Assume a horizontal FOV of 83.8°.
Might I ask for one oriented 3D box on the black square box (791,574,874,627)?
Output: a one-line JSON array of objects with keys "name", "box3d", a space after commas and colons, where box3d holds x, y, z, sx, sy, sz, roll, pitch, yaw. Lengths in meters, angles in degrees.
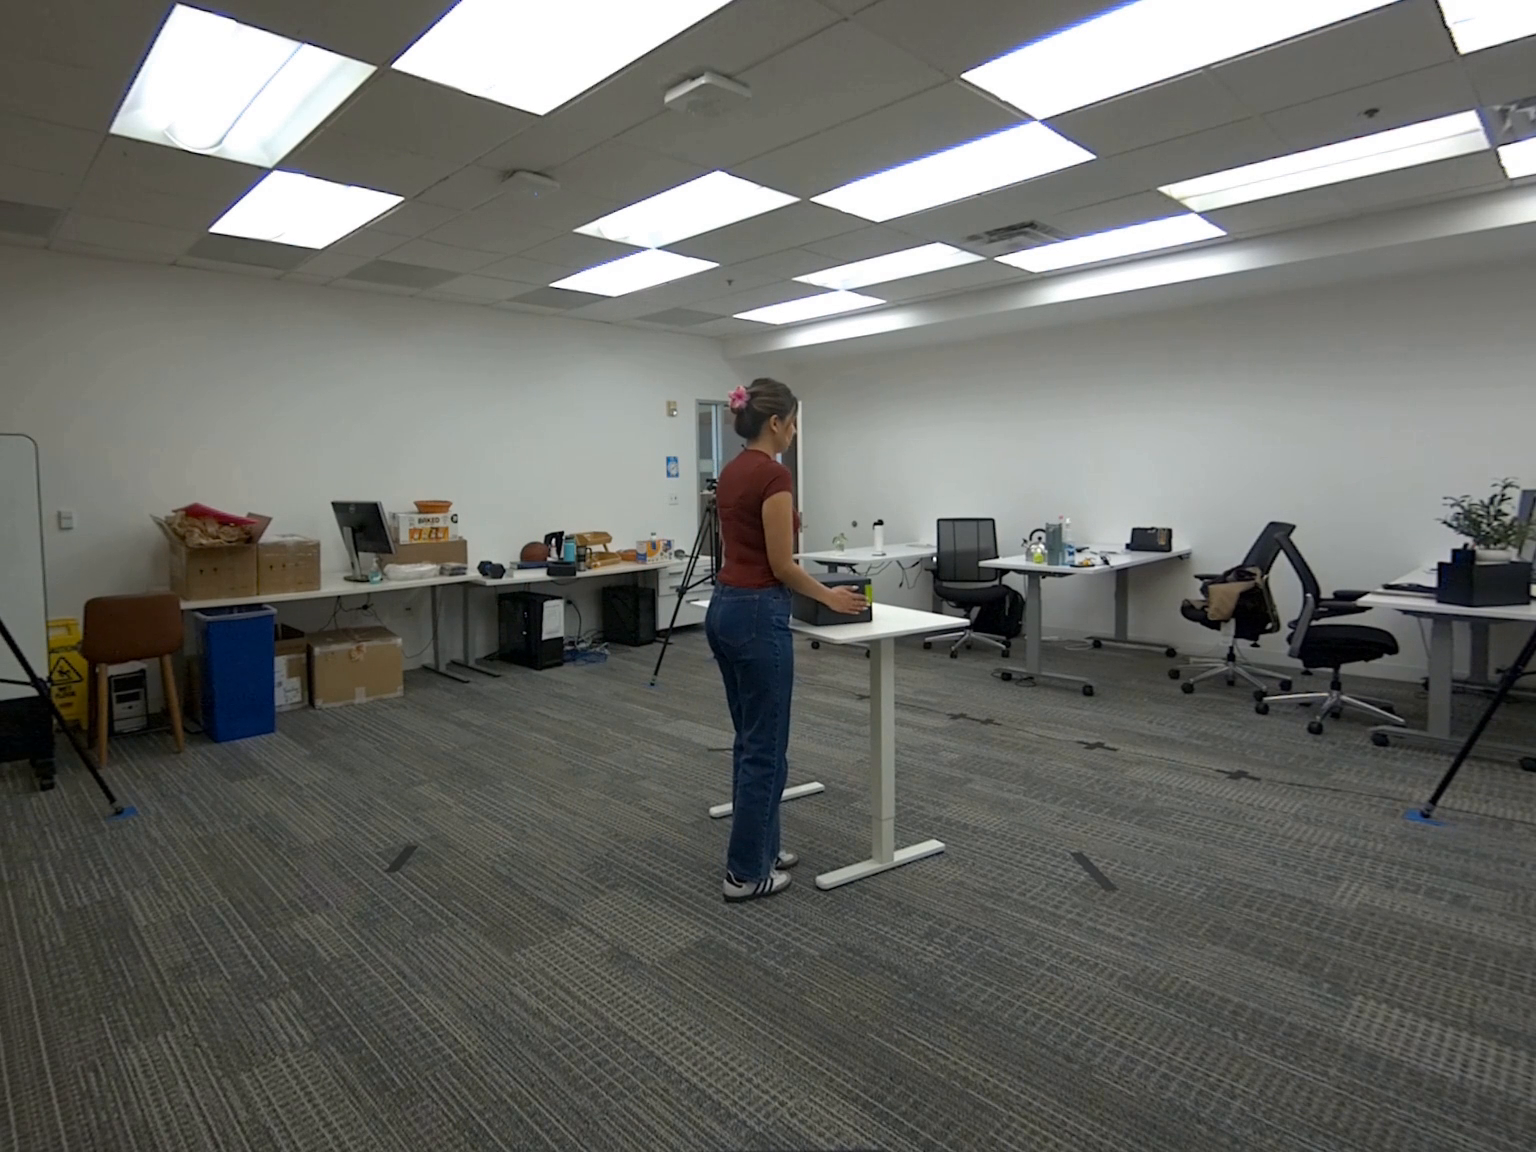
[{"name": "black square box", "box3d": [0.231, 0.077, 3.089, 0.213, 0.155, 0.233, -3, 6, -20]}]
